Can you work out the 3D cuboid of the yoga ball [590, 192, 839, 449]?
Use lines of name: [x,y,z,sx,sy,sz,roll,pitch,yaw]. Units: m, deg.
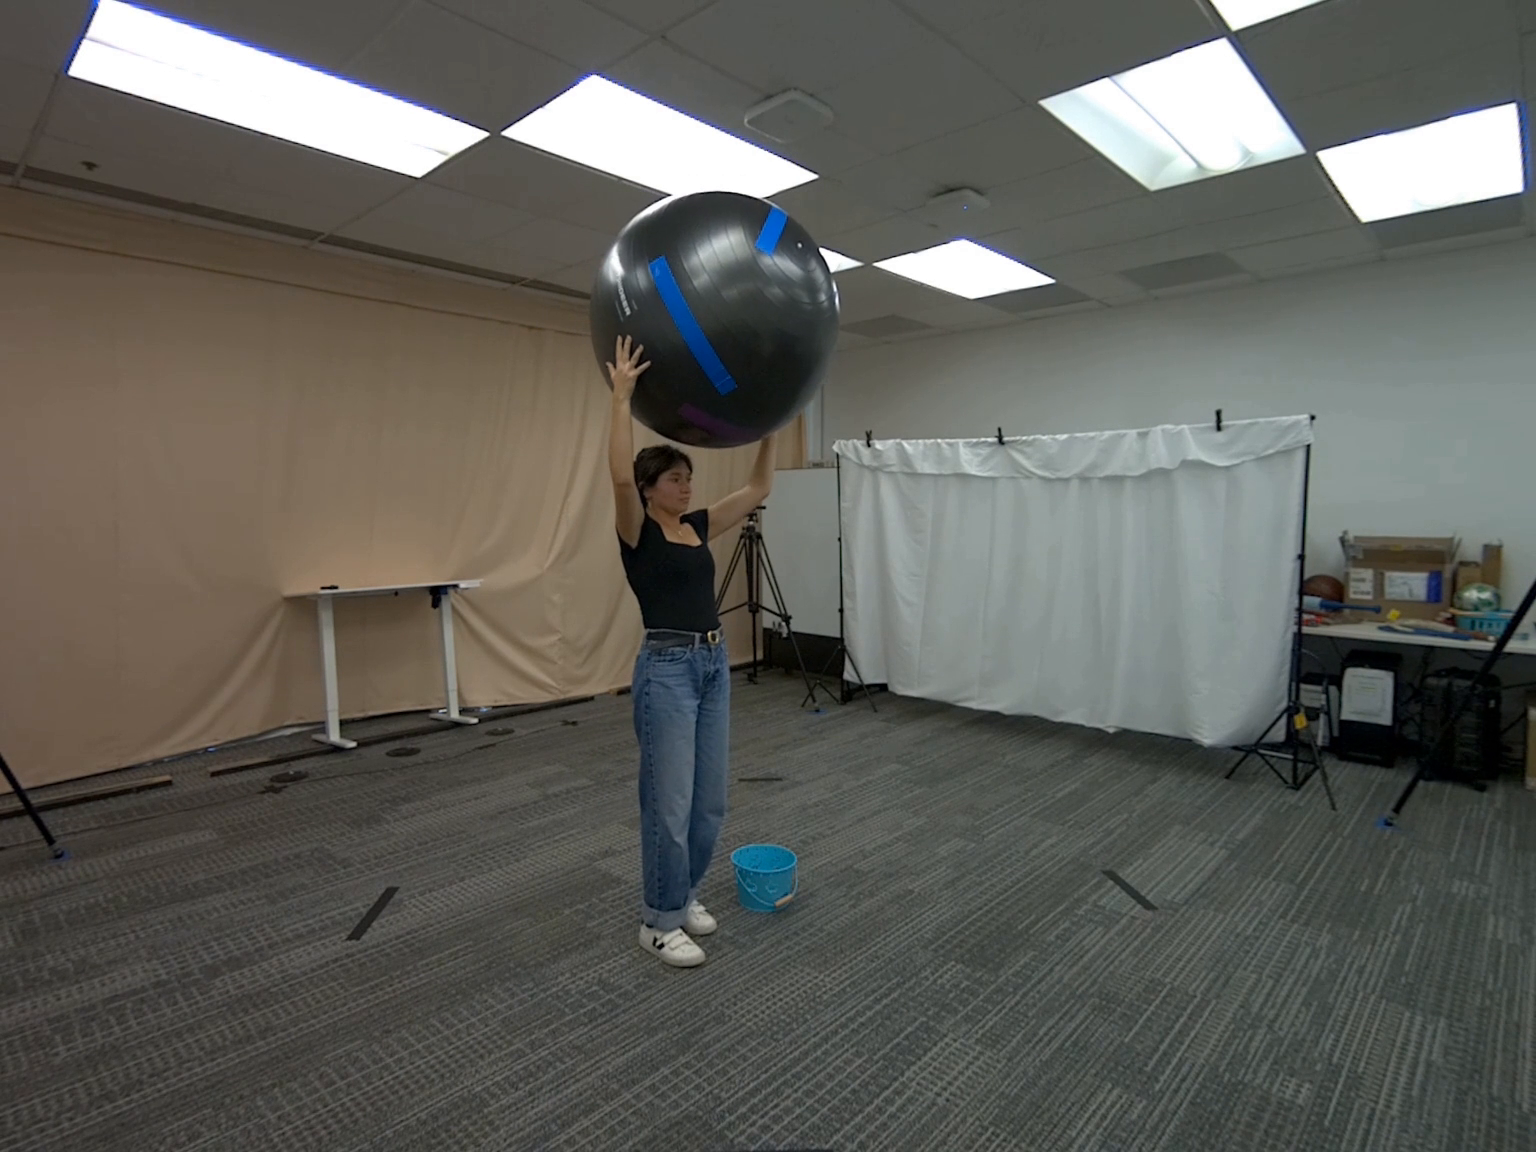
yoga ball: [-0.164,-0.768,2.577,0.757,0.756,0.760,0,4,-2]
